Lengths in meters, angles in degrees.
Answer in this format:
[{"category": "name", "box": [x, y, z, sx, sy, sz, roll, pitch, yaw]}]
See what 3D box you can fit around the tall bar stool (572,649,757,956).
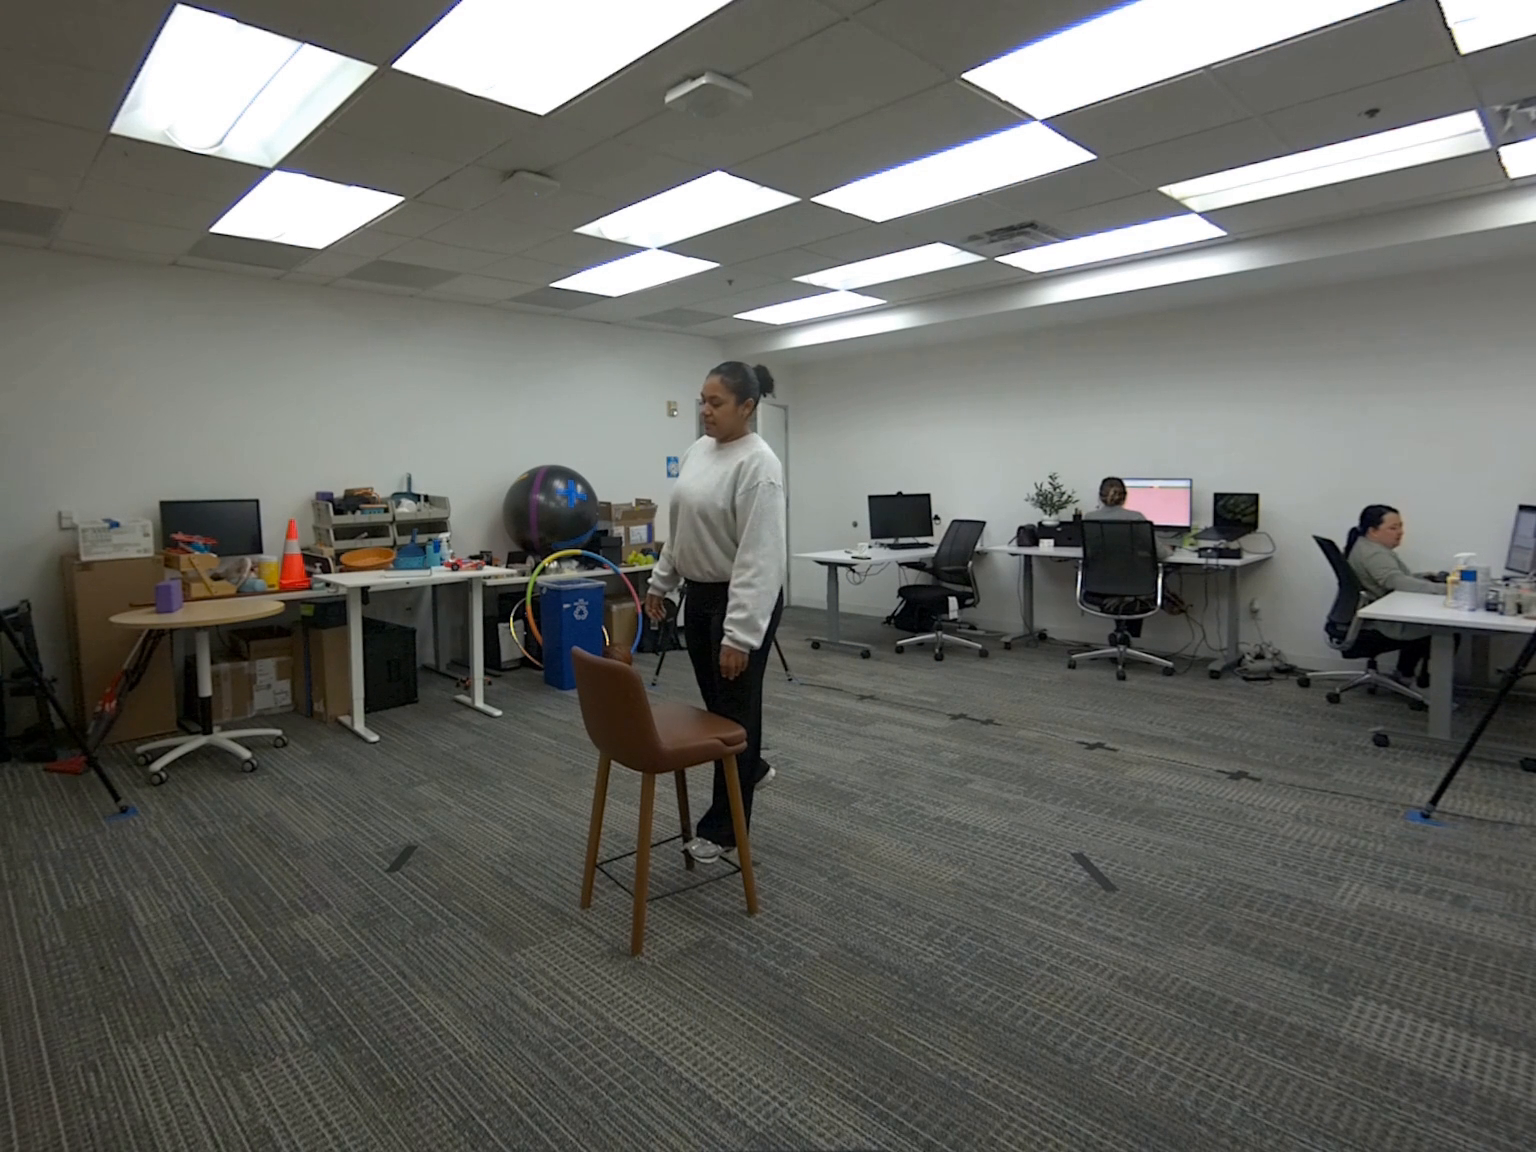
[{"category": "tall bar stool", "box": [-0.340, 0.653, 2.760, 0.456, 0.885, 0.470, -6, 7, -35]}]
